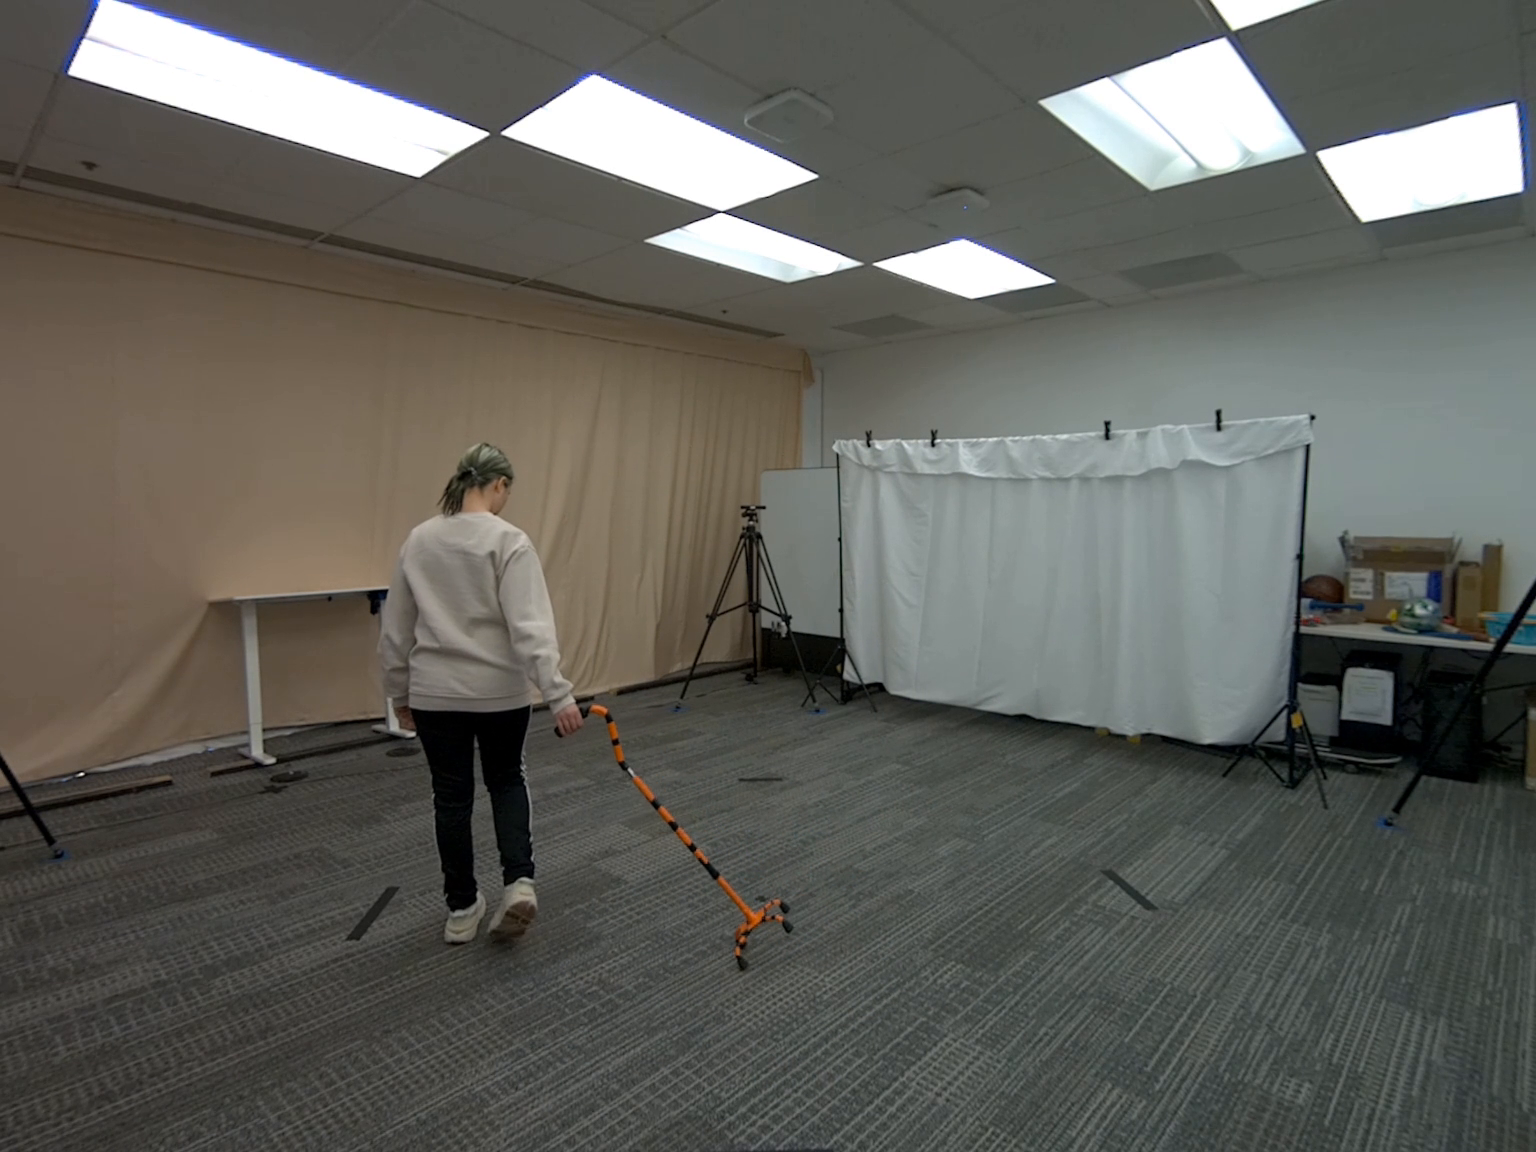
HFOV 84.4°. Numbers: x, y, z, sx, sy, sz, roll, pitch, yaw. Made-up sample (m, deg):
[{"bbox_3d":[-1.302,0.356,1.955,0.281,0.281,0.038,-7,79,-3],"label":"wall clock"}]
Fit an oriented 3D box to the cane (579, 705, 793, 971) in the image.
[{"bbox_3d":[-0.283,0.768,2.566,0.206,0.905,0.152,-39,3,1],"label":"cane"}]
